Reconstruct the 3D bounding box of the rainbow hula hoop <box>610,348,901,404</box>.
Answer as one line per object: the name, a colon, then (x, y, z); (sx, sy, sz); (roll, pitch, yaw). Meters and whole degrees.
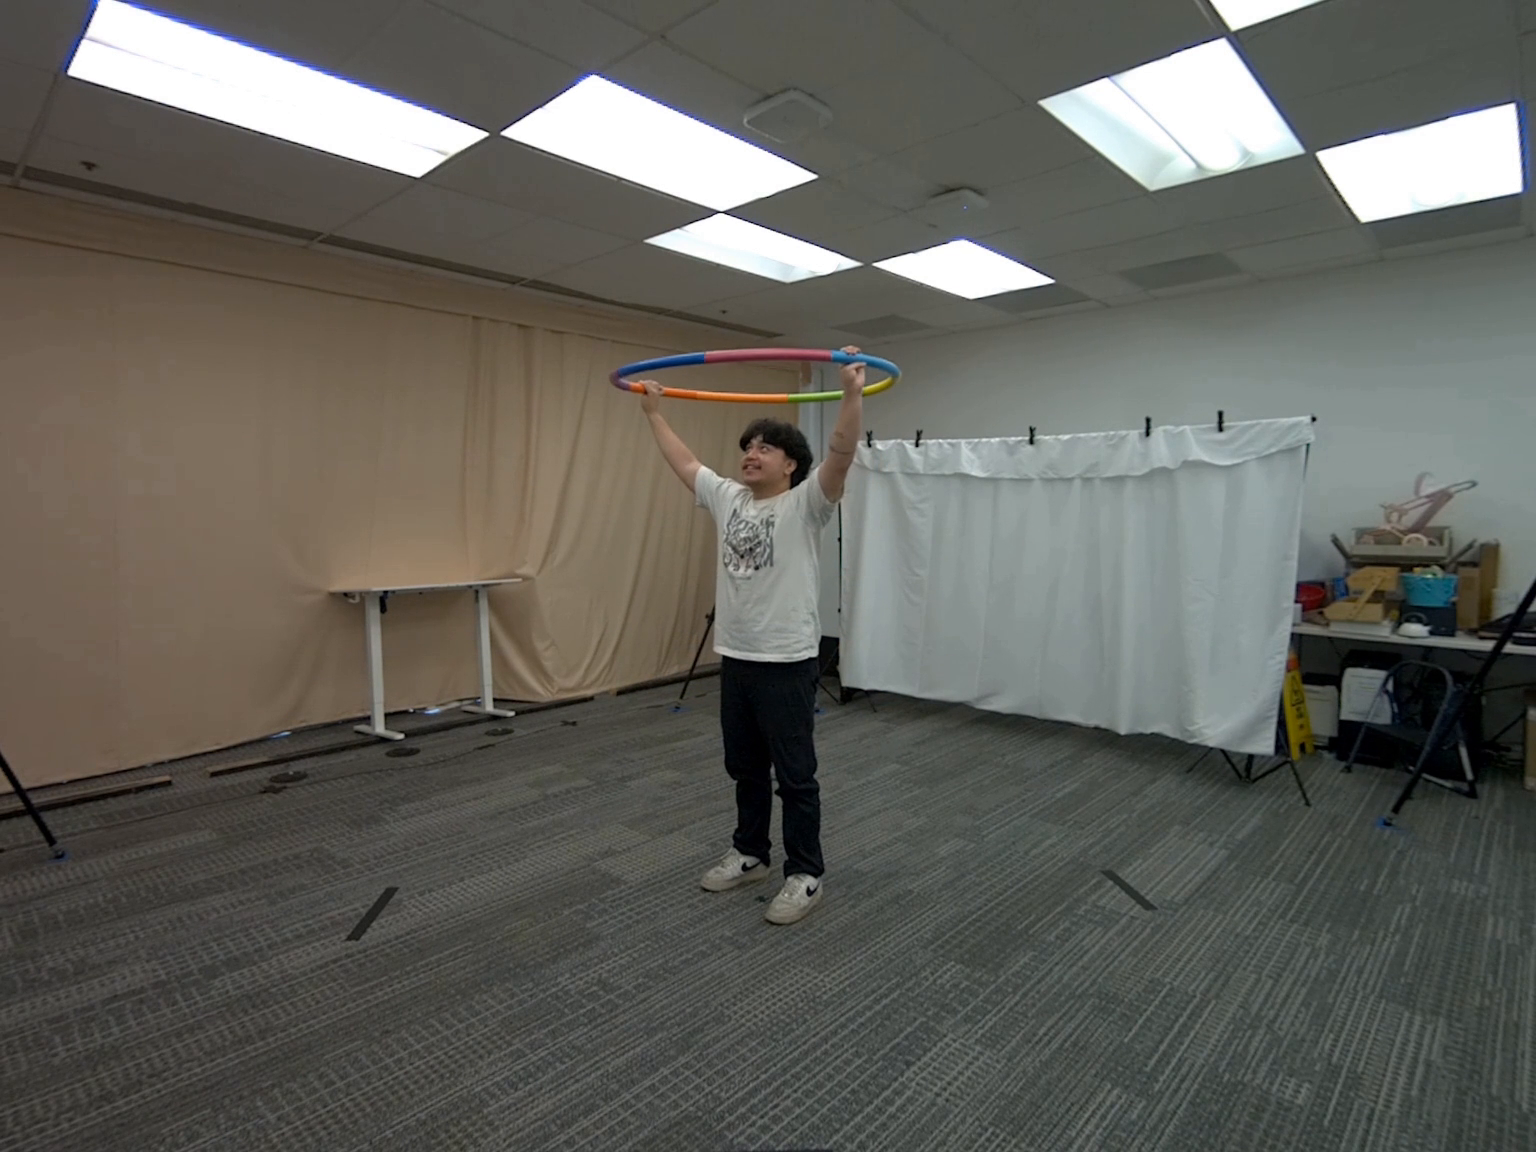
rainbow hula hoop: (-0.045, -0.670, 2.881); (0.984, 0.051, 0.989); (1, 4, -2)
